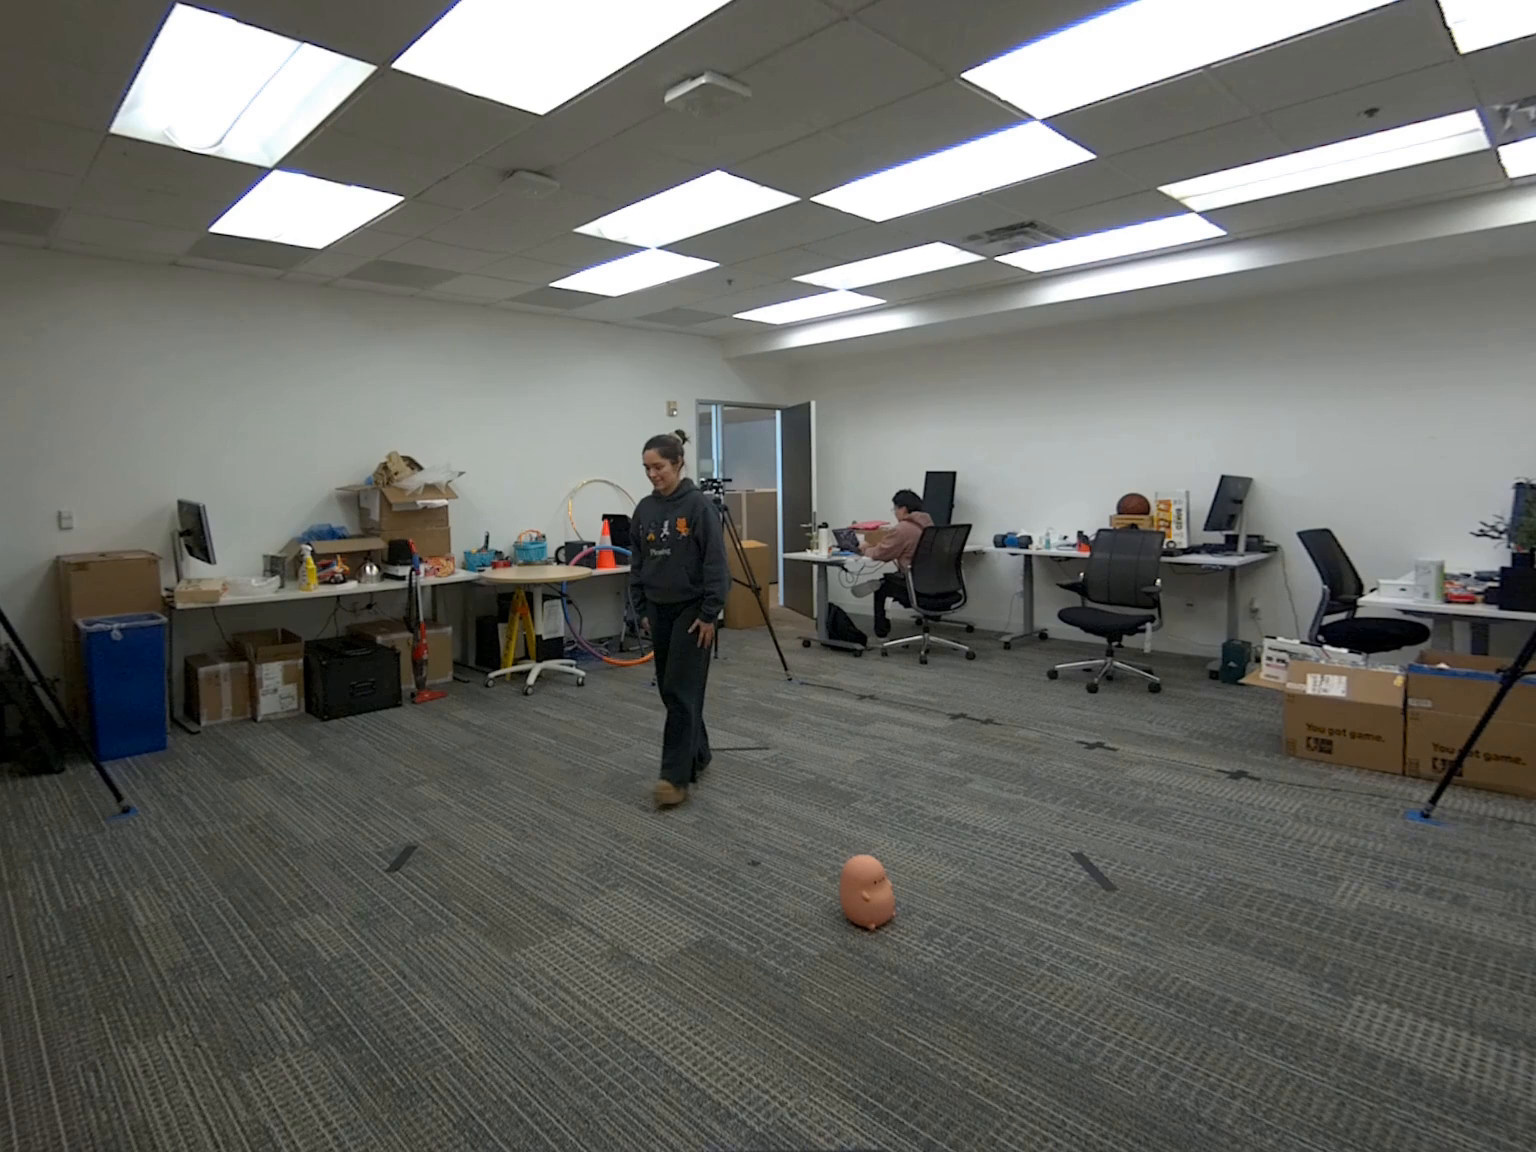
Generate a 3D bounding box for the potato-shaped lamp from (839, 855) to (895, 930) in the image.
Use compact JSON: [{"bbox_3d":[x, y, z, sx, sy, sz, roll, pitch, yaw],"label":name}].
[{"bbox_3d":[0.314,0.989,2.687,0.160,0.197,0.177,-7,8,-38],"label":"potato-shaped lamp"}]
